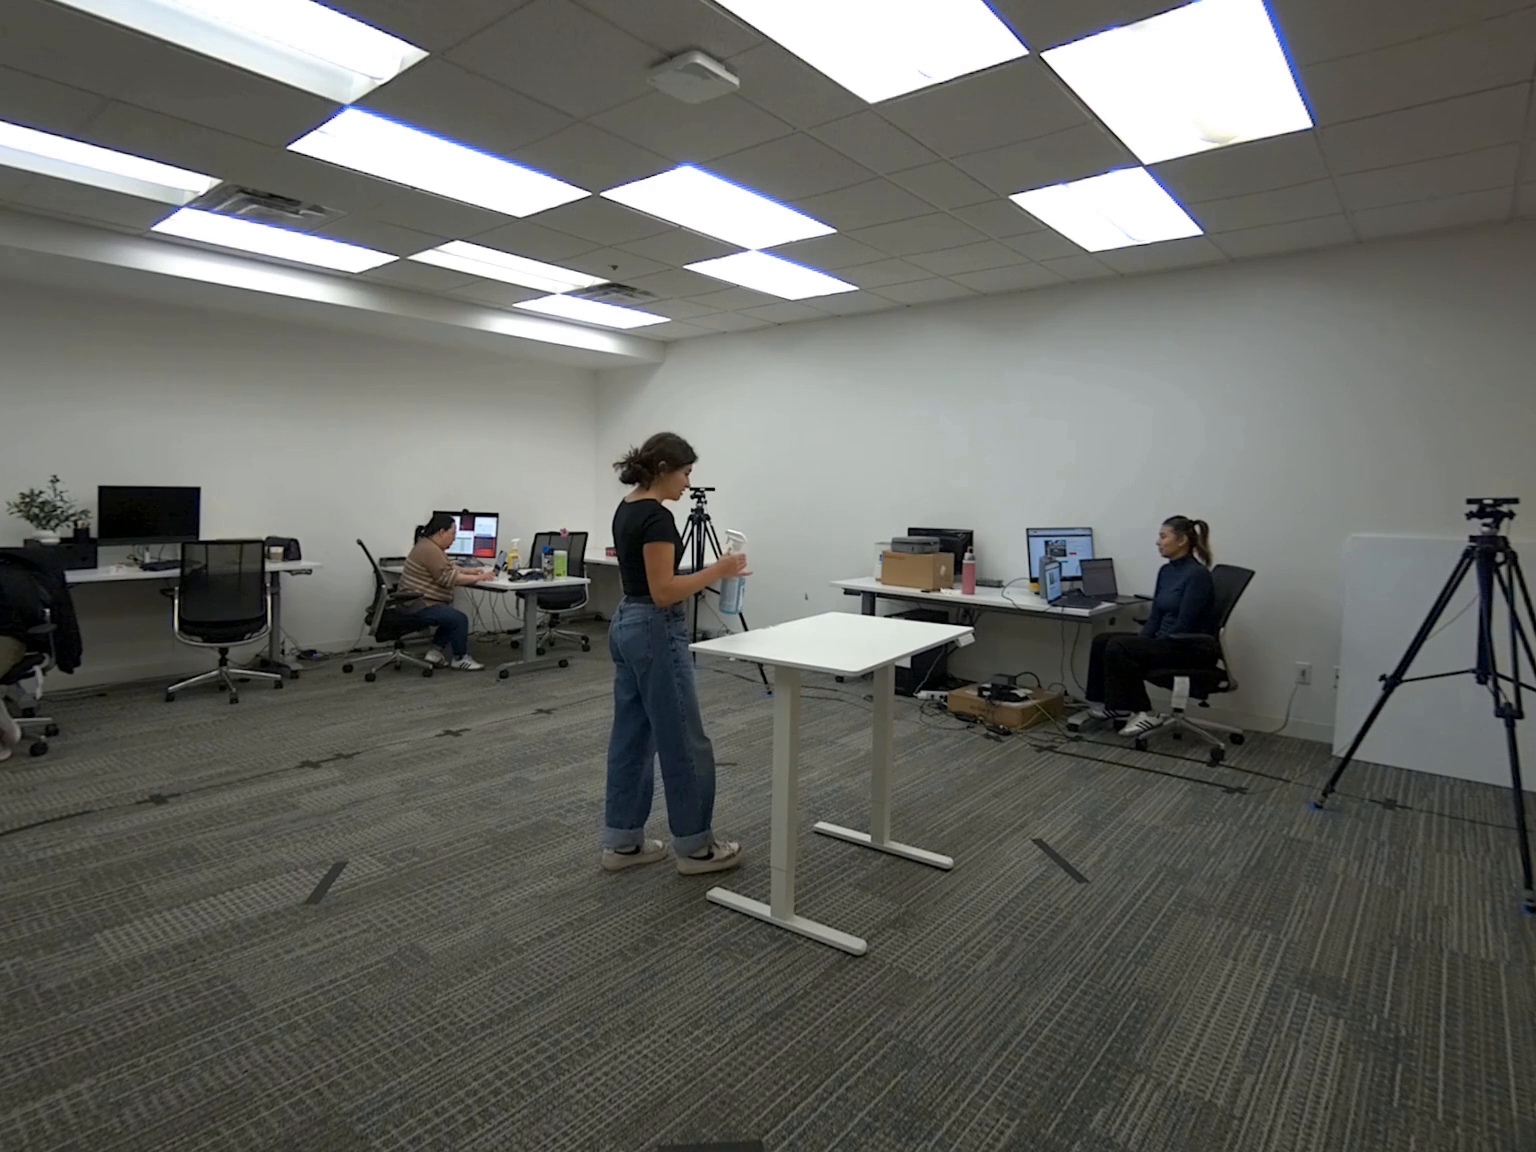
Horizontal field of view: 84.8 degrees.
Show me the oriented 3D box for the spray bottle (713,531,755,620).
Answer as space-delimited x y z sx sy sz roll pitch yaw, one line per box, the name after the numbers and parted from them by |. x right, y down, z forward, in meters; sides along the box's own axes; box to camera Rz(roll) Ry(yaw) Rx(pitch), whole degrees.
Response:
-0.126 -0.006 3.037 0.084 0.294 0.093 -4 15 -36 | spray bottle
